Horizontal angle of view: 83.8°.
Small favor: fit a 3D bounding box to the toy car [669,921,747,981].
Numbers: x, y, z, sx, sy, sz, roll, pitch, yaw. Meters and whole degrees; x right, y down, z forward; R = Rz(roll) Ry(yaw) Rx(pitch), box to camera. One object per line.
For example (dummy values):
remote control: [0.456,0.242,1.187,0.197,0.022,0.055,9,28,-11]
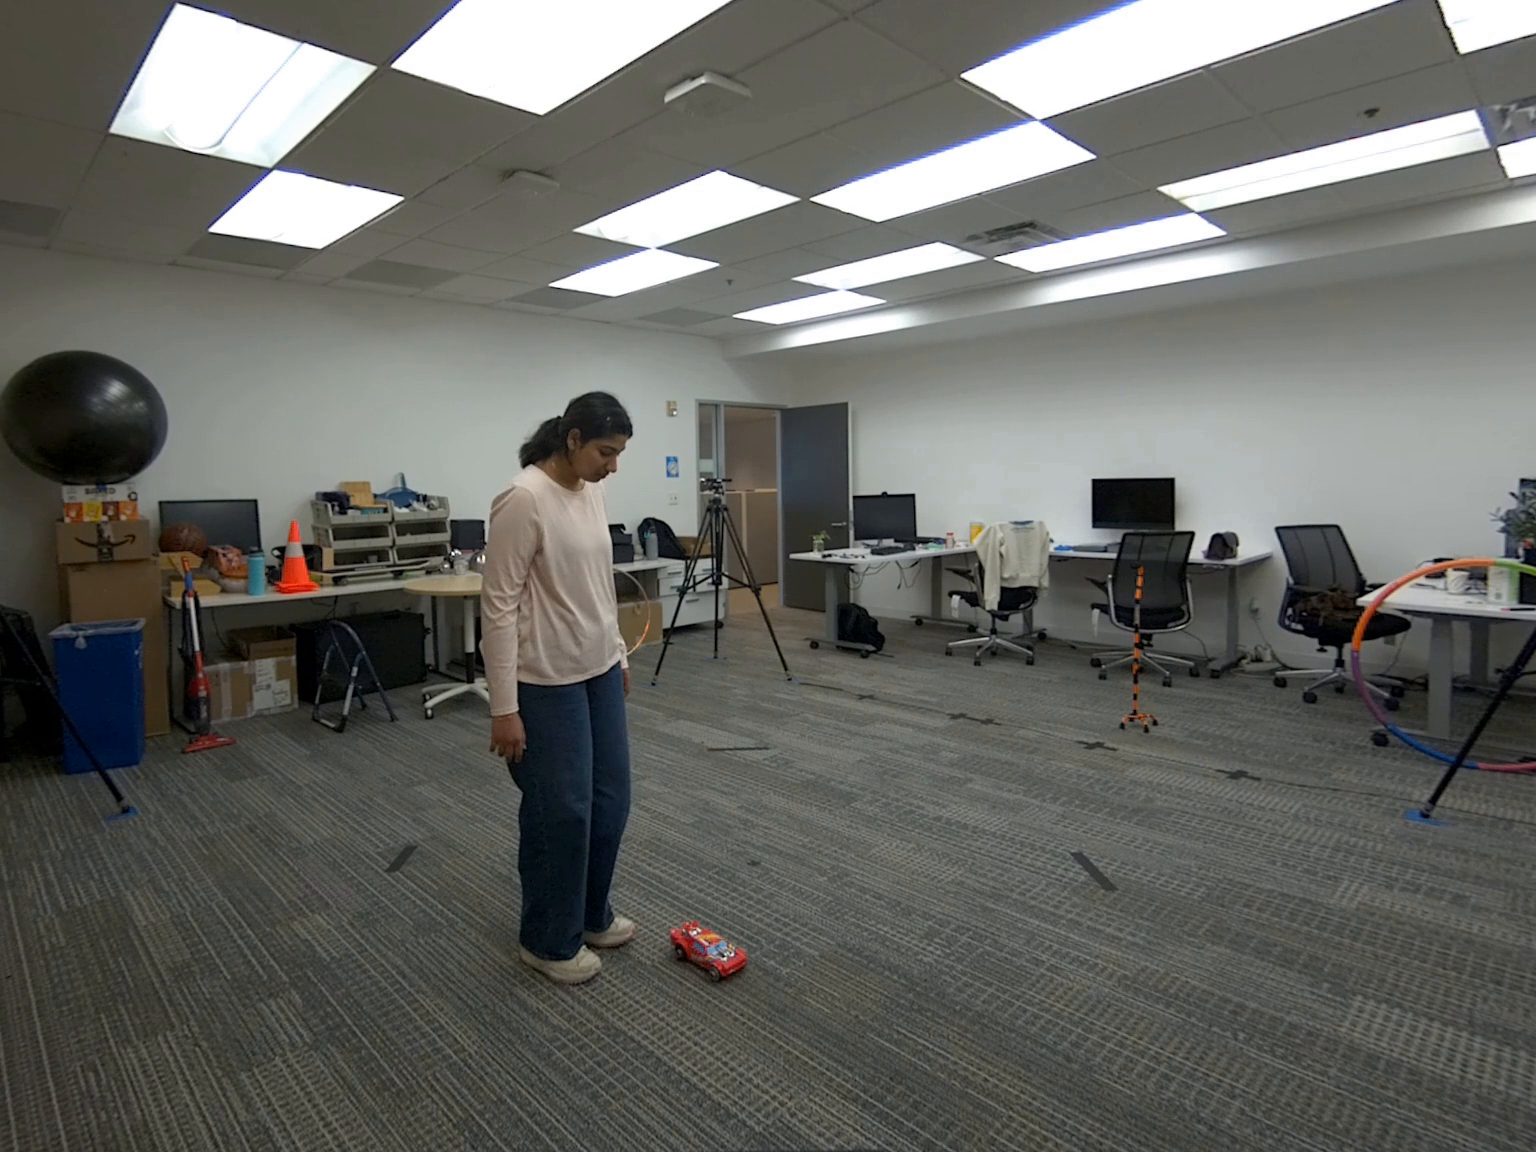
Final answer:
toy car: [-0.177,1.083,2.483,0.127,0.082,0.264,-7,19,-43]
